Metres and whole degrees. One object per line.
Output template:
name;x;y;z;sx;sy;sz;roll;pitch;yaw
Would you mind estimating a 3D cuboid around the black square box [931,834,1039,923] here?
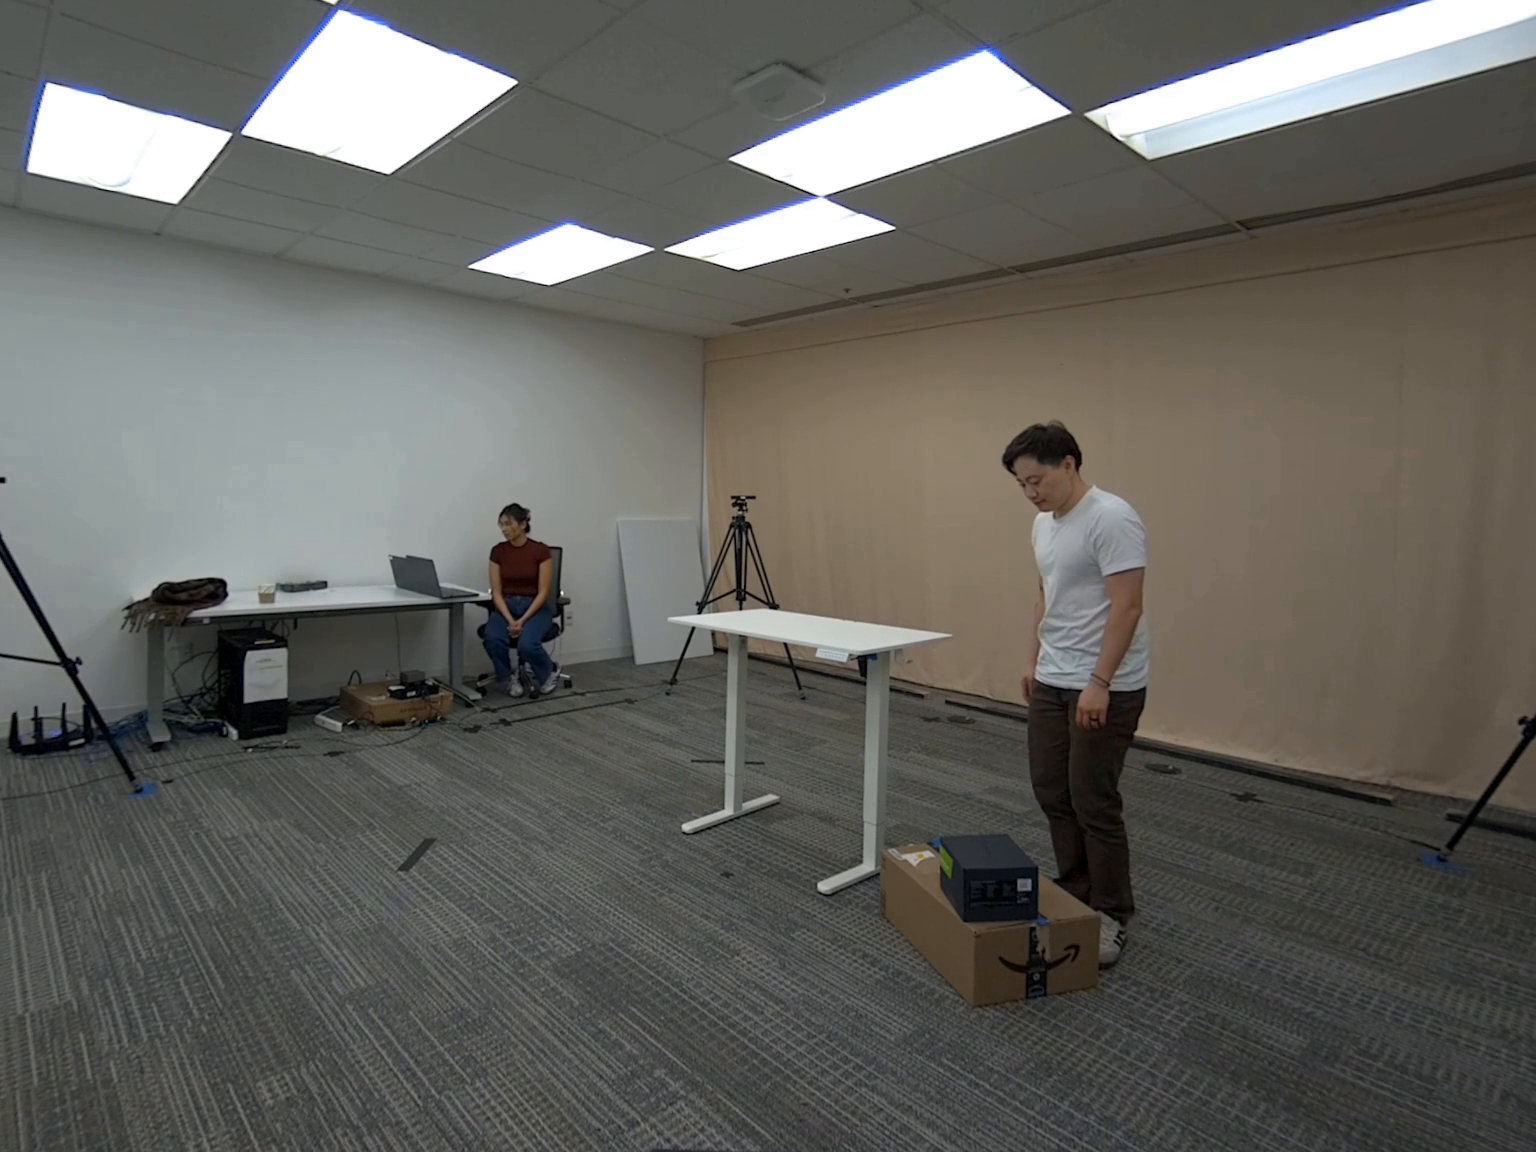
black square box;0.631;0.877;2.469;0.216;0.155;0.229;0;4;-4
